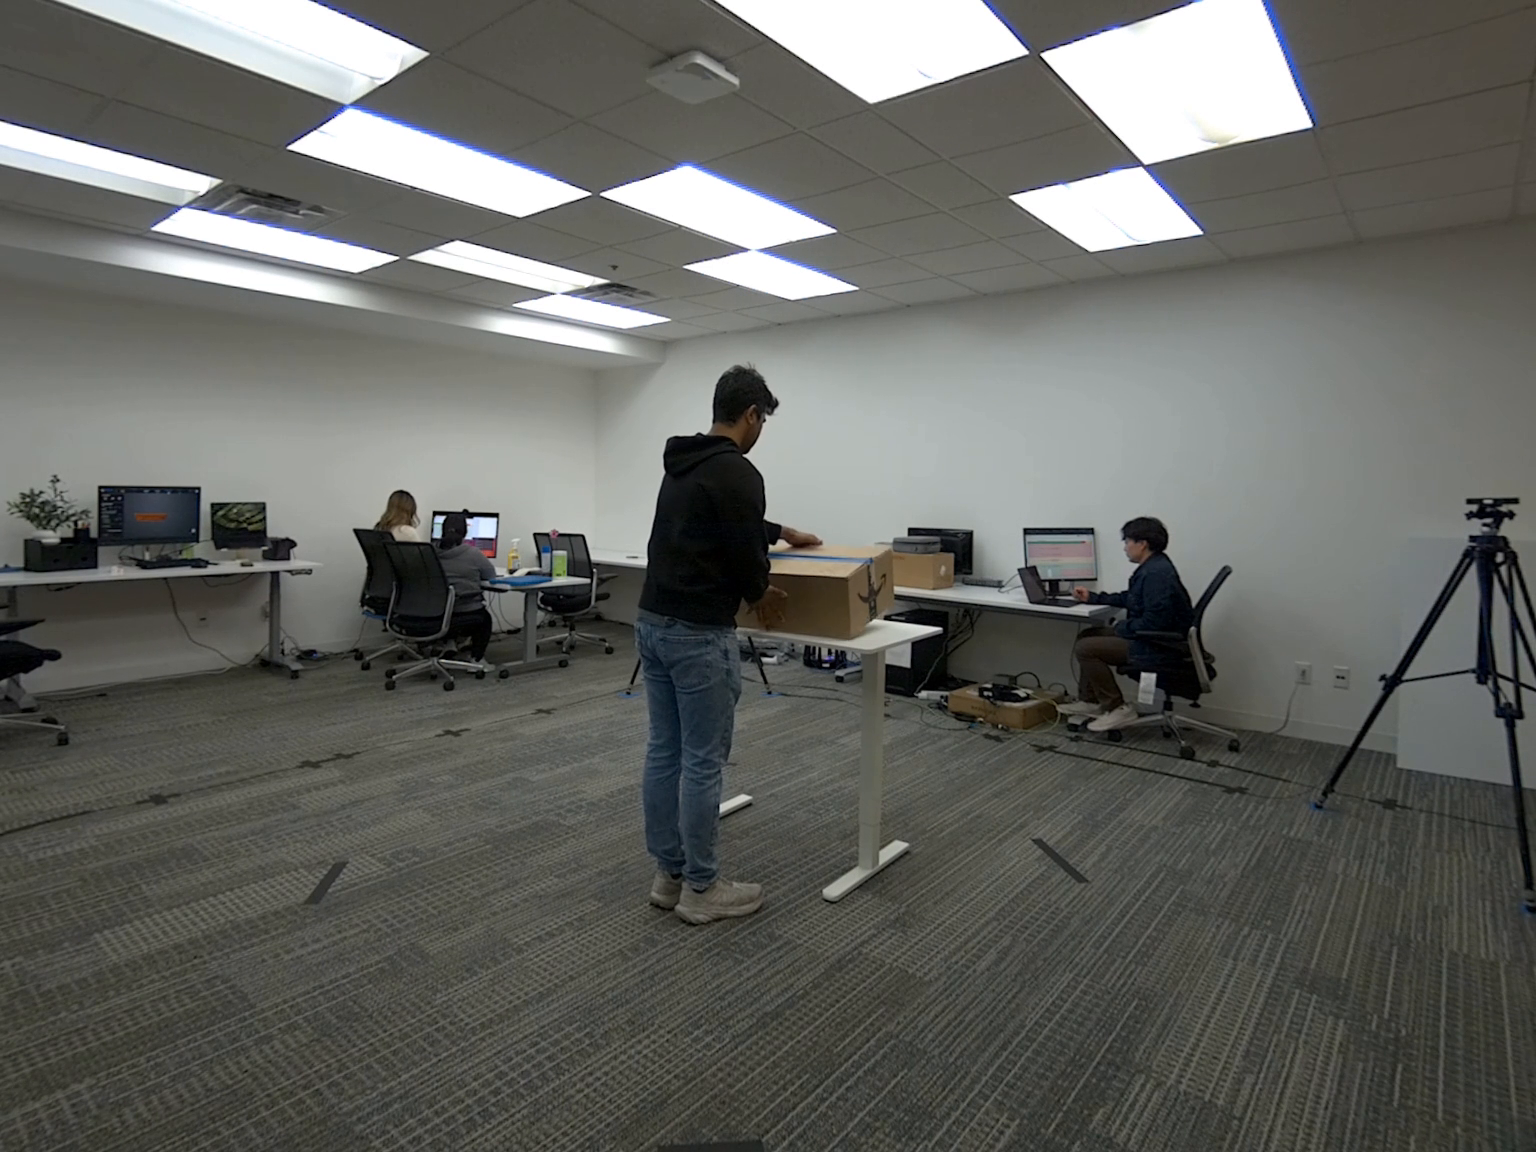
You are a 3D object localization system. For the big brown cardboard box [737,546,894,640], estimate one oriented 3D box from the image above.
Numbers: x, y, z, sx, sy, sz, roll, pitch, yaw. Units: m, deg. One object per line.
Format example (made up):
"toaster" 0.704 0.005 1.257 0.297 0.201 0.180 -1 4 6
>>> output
"big brown cardboard box" 0.116 0.021 3.184 0.606 0.230 0.411 4 16 30
